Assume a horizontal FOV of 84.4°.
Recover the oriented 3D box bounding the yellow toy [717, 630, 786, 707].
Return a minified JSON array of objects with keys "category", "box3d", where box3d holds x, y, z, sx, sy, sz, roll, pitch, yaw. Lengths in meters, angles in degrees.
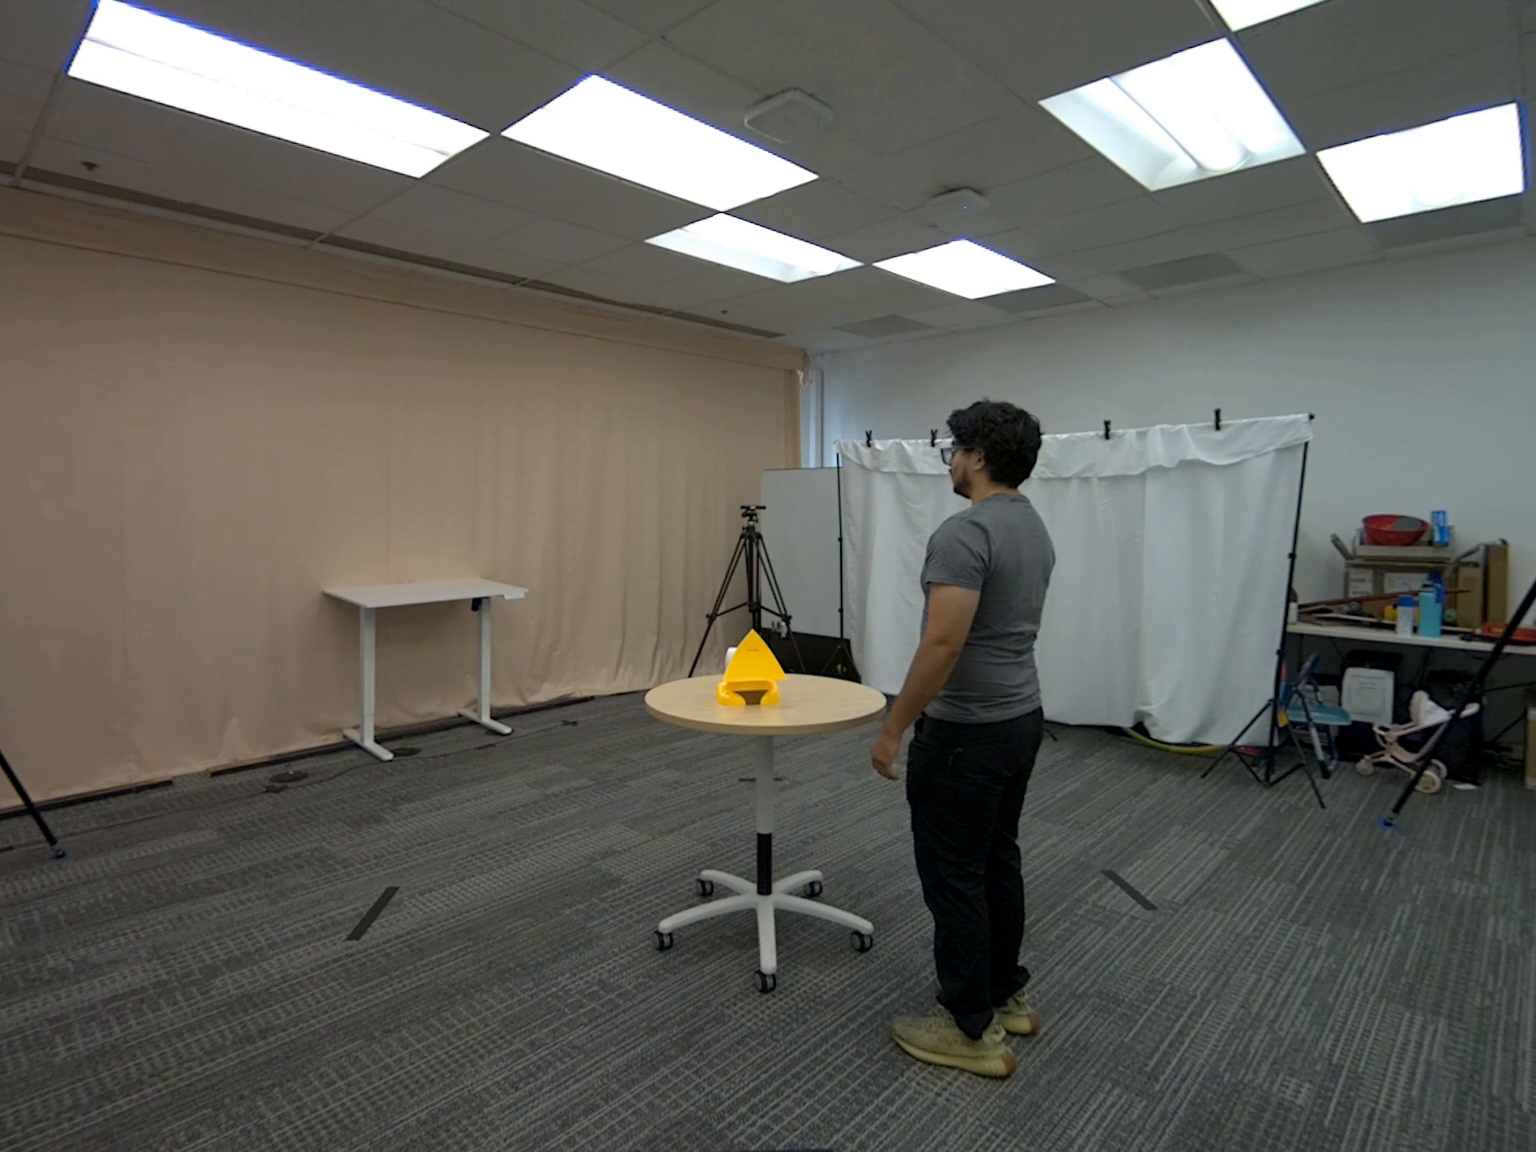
[{"category":"yellow toy","box3d":[-0.058,0.274,2.632,0.202,0.230,0.196,-1,4,-14]}]
